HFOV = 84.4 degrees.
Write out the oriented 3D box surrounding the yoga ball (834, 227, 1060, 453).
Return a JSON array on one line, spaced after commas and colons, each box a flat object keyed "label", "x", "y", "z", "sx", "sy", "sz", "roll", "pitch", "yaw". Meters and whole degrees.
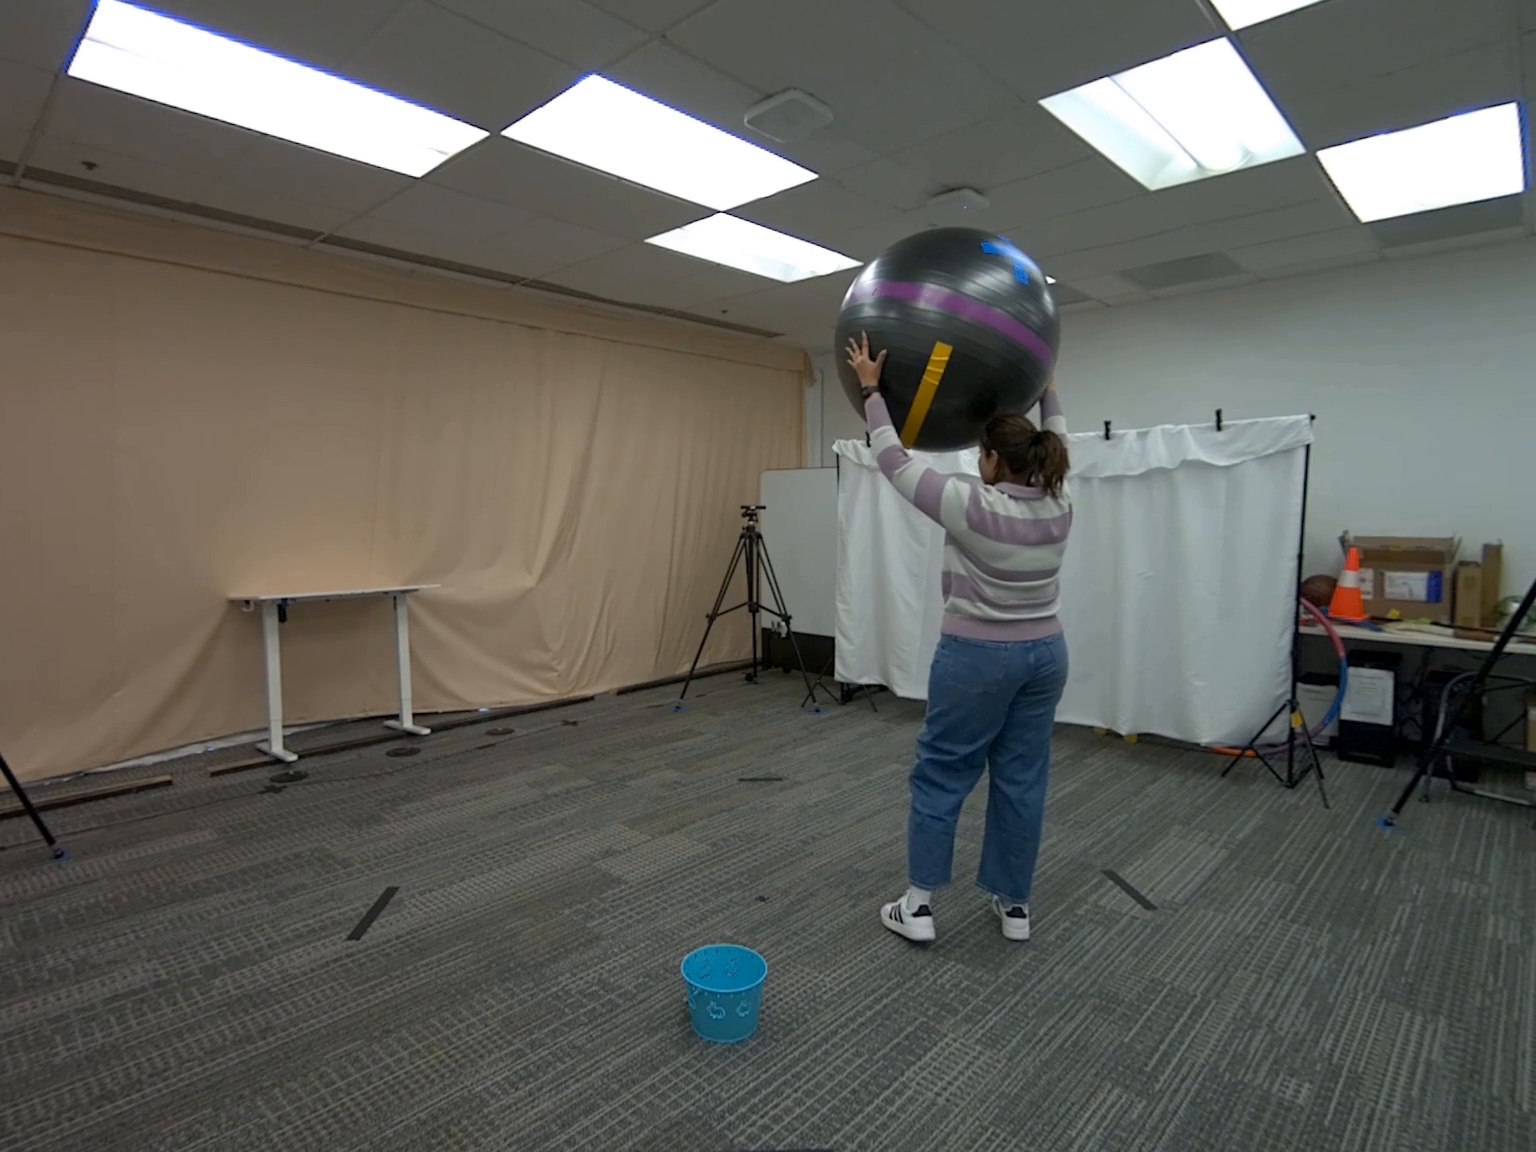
[{"label": "yoga ball", "x": 0.614, "y": -0.804, "z": 2.938, "sx": 0.757, "sy": 0.756, "sz": 0.761, "roll": 0, "pitch": 4, "yaw": -2}]
